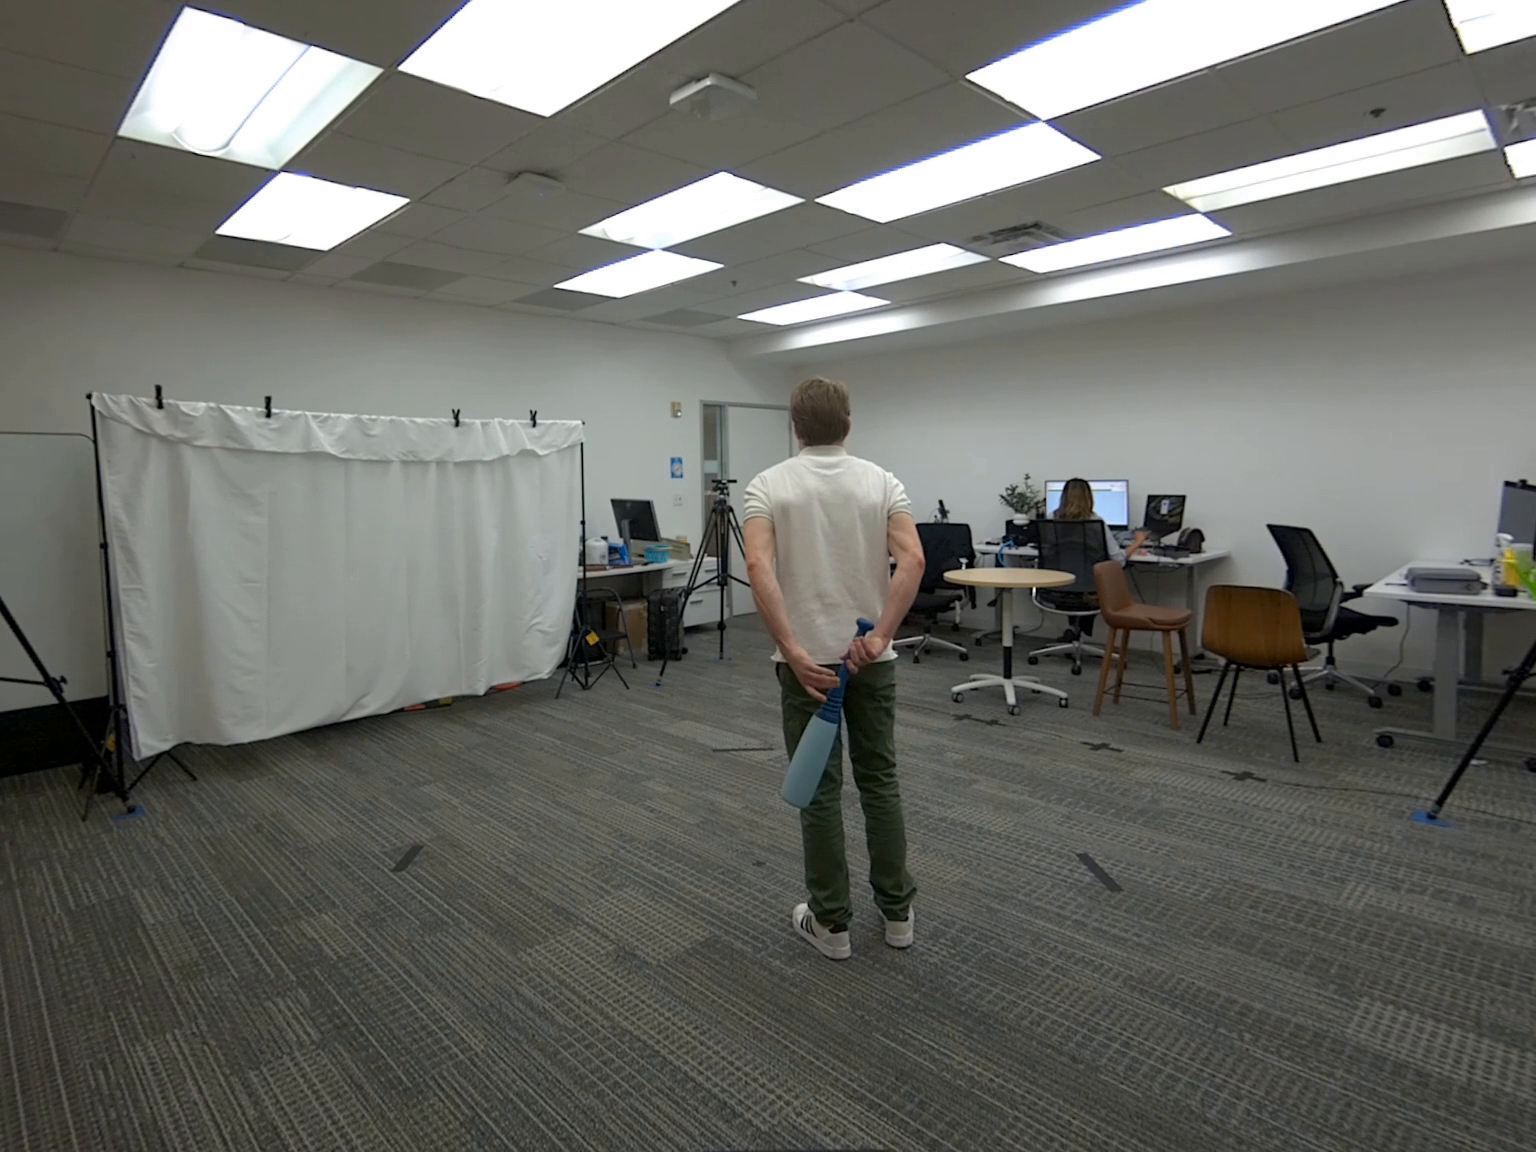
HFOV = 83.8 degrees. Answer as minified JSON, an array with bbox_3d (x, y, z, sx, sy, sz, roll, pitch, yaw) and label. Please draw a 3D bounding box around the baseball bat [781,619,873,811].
[{"bbox_3d":[0.164,0.378,2.325,0.089,0.542,0.089,18,3,-3],"label":"baseball bat"}]
